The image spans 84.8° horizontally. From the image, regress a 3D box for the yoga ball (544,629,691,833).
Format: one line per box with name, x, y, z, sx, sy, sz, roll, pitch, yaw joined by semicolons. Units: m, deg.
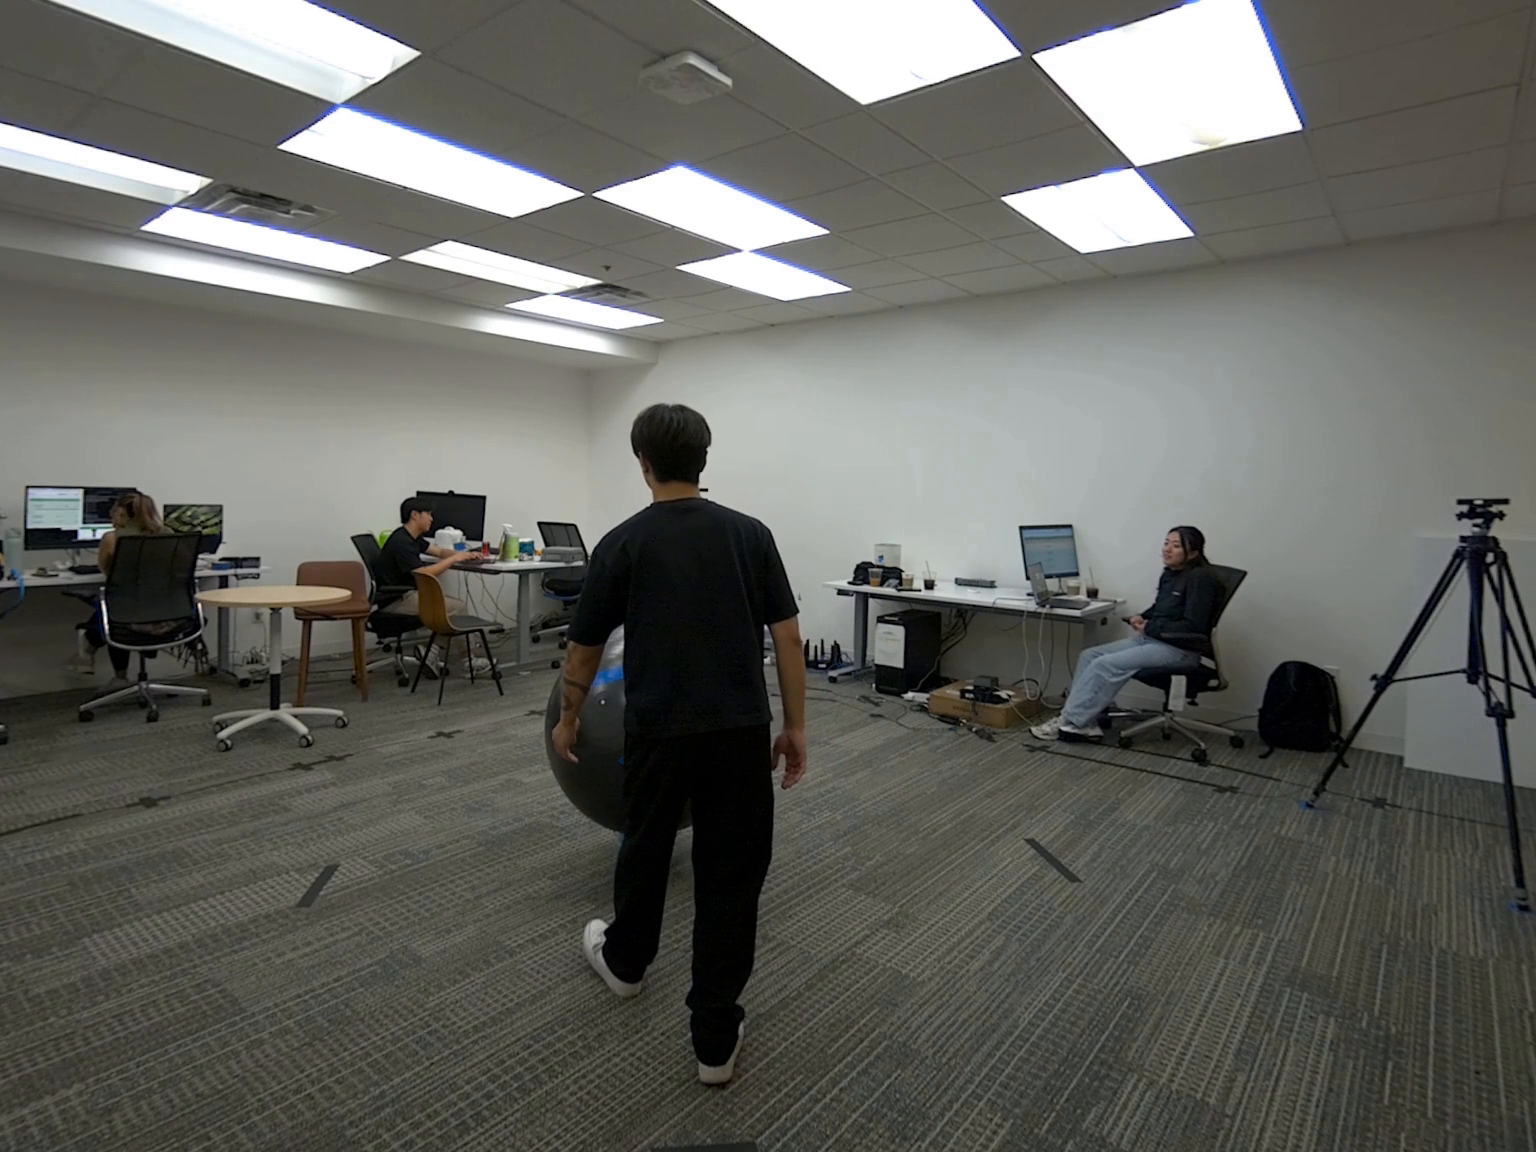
yoga ball;-0.449;0.550;3.136;0.757;0.756;0.762;1;4;-2
